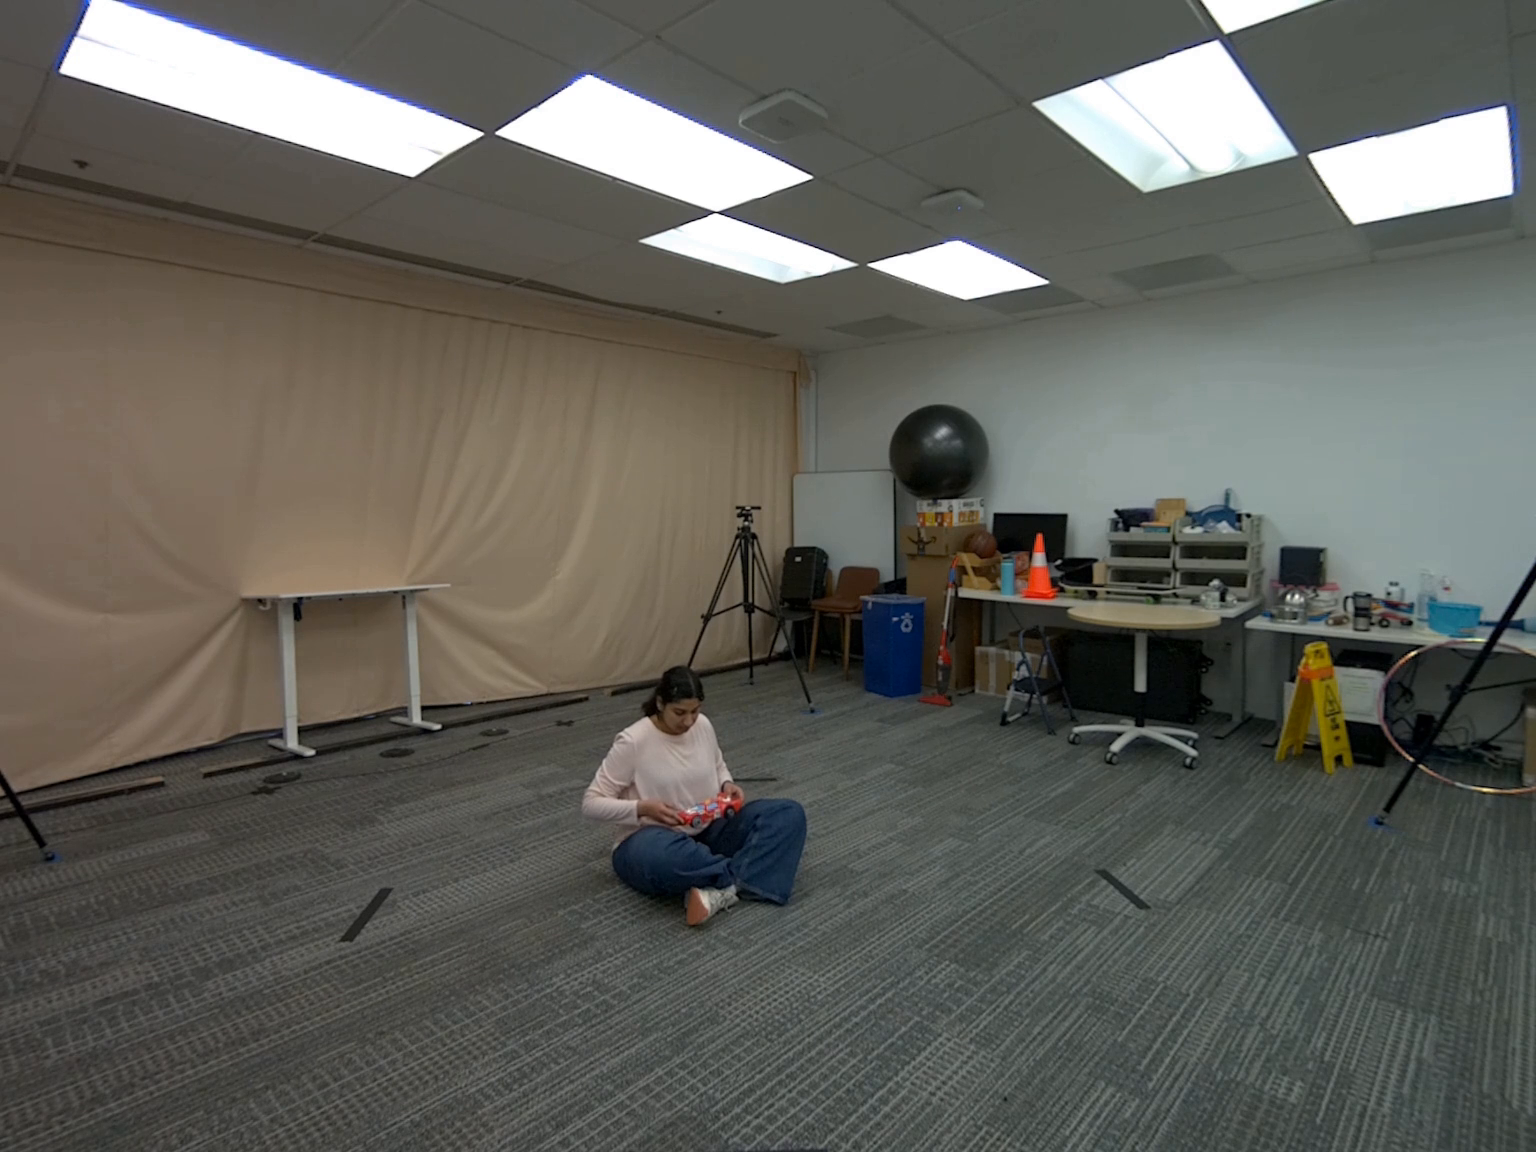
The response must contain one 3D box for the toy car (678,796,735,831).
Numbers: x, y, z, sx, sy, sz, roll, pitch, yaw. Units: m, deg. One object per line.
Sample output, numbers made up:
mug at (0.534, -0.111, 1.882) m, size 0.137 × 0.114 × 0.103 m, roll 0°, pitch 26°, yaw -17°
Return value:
toy car at (-0.213, 0.860, 3.065) m, size 0.248 × 0.083 × 0.133 m, roll -19°, pitch 4°, yaw -36°
